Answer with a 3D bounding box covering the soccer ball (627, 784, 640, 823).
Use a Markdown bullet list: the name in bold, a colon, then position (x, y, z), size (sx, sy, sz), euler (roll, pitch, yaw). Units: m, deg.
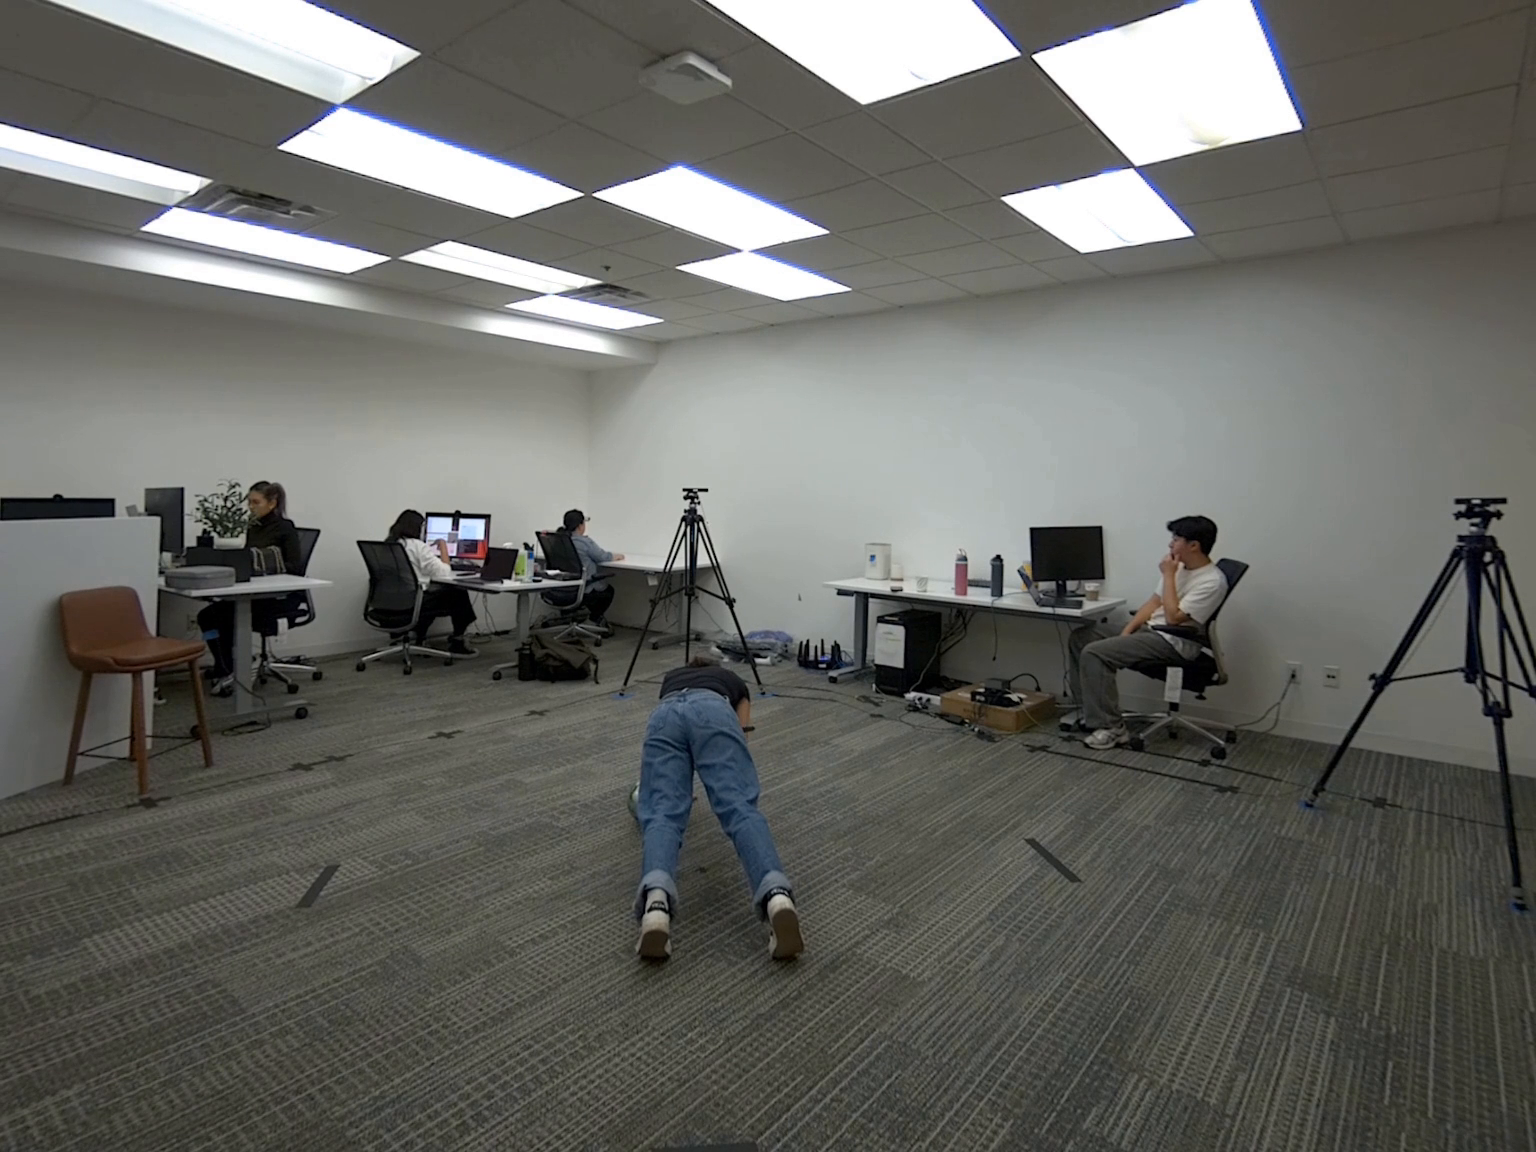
- **soccer ball**: position (-0.480, 0.919, 3.528), size (0.187, 0.187, 0.188), euler (1, 4, -2)
